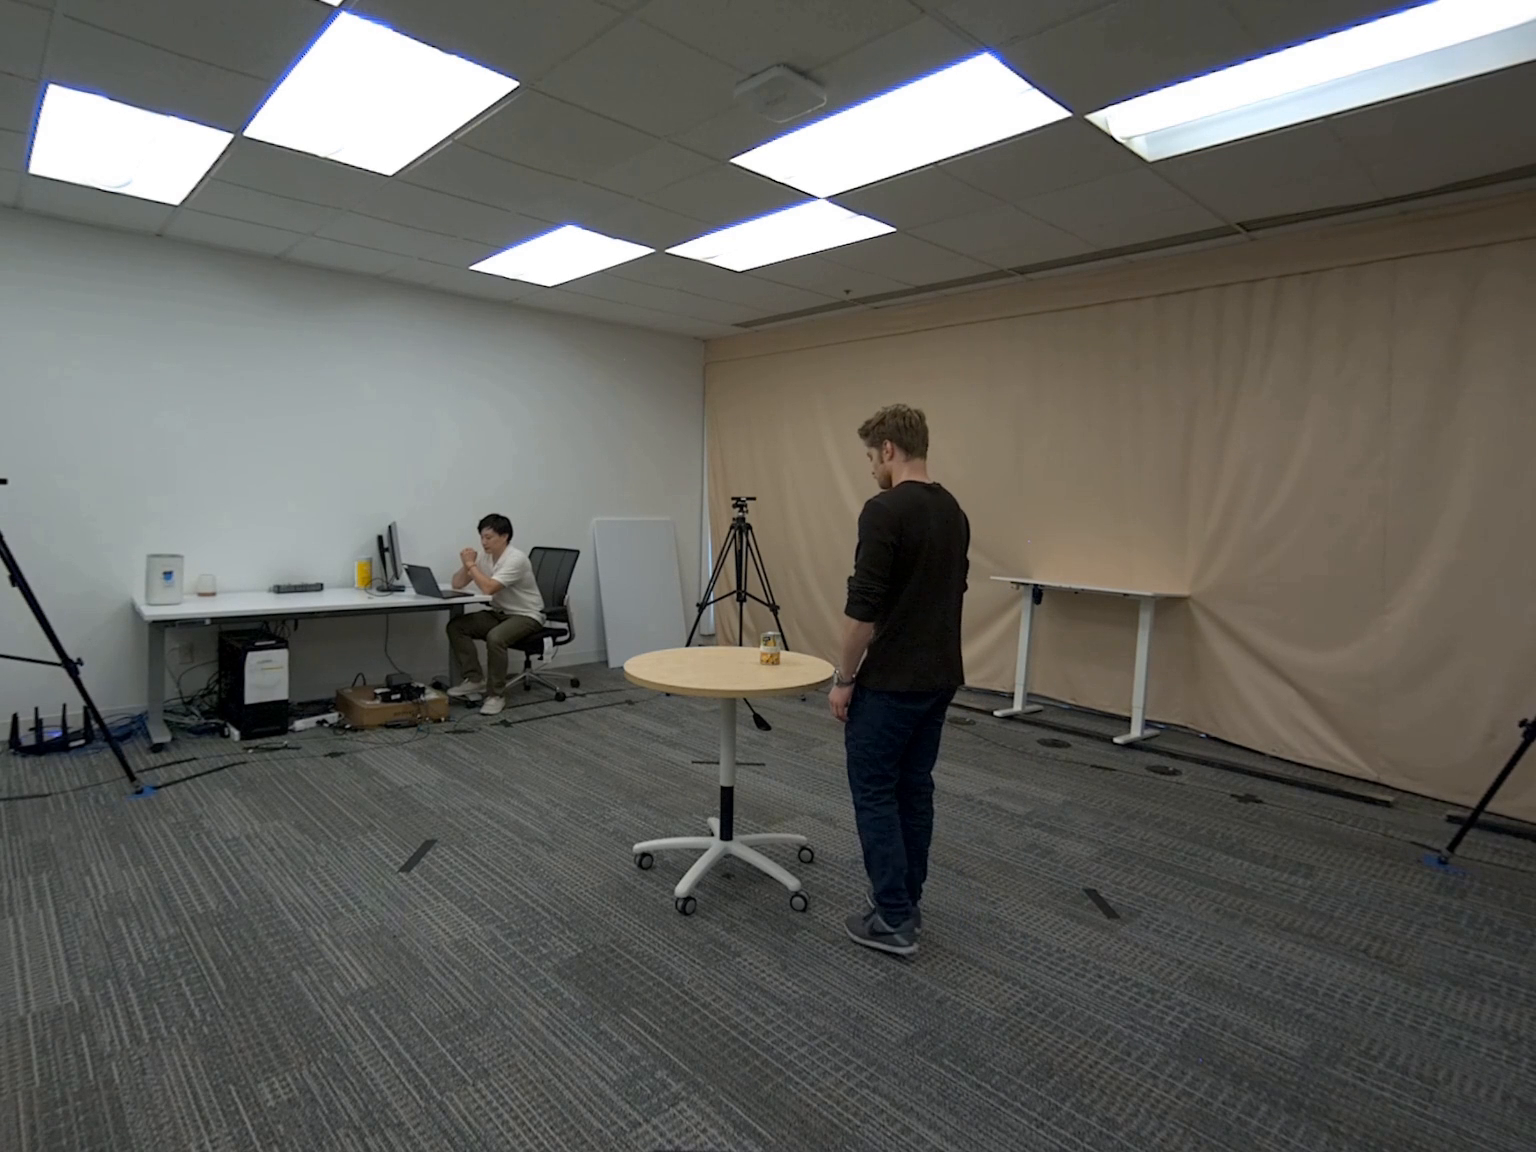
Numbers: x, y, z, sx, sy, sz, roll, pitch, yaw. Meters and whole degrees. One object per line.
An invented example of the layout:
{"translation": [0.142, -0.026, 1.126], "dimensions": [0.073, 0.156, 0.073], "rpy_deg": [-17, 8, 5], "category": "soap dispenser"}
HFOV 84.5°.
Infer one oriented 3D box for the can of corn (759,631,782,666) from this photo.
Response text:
{"translation": [0.004, 0.271, 3.114], "dimensions": [0.074, 0.111, 0.074], "rpy_deg": [5, 2, -2], "category": "can of corn"}
